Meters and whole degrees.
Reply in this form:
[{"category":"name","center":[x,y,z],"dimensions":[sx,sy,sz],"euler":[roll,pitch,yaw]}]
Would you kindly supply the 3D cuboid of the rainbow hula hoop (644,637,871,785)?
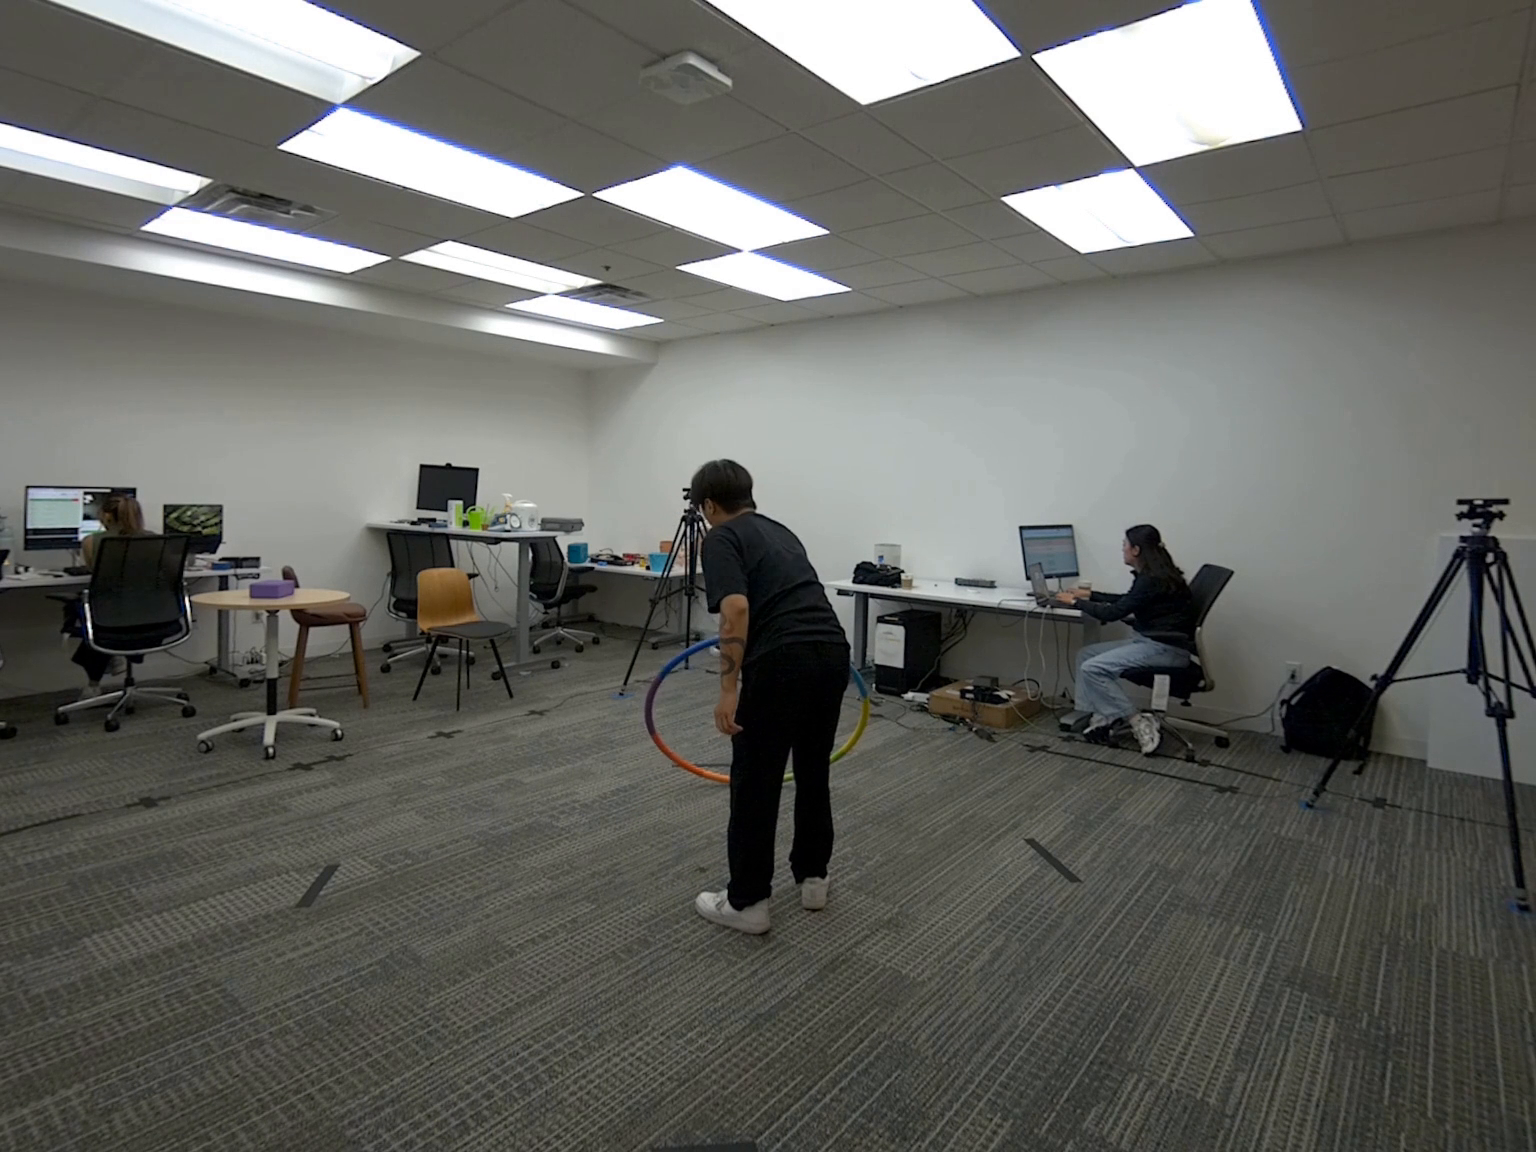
[{"category":"rainbow hula hoop","center":[-0.064,0.600,3.712],"dimensions":[0.978,0.952,0.036],"euler":[2,38,-1]}]
